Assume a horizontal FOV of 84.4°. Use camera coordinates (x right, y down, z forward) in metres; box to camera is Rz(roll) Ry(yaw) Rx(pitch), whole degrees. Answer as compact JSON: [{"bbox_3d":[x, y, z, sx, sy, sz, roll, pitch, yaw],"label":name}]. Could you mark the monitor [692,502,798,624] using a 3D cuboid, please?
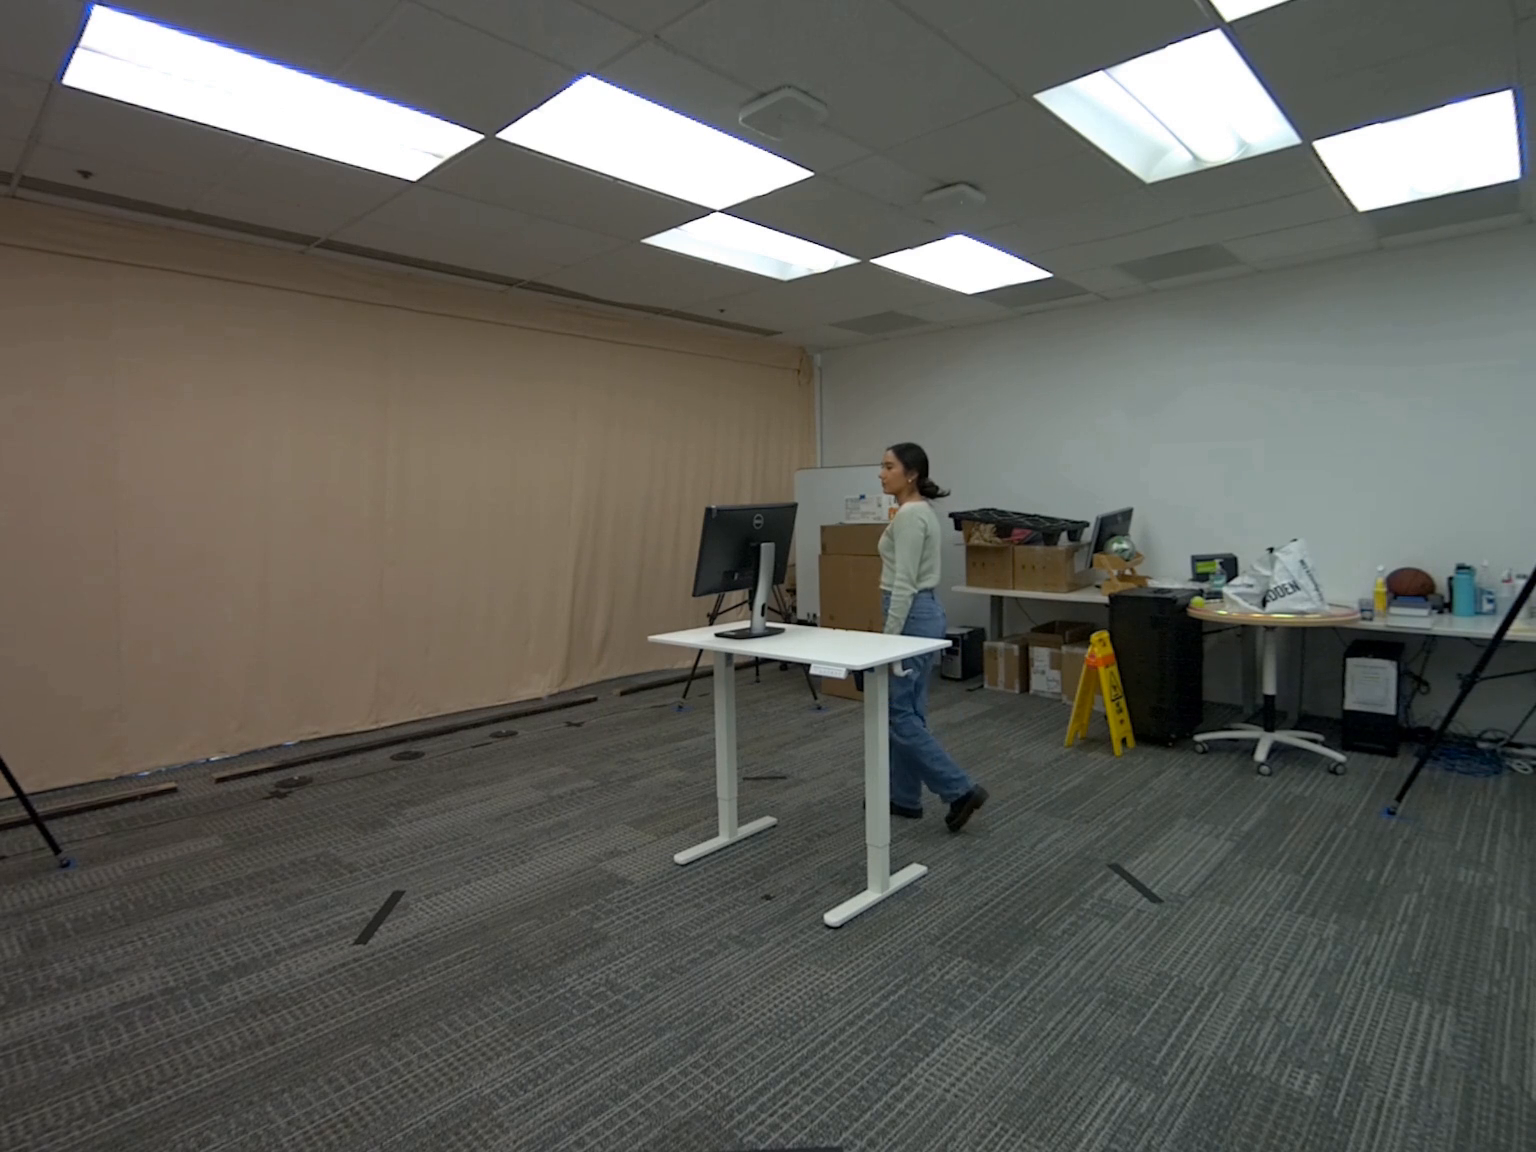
[{"bbox_3d":[-0.057,-0.020,3.305,0.193,0.521,0.523,4,7,40],"label":"monitor"}]
